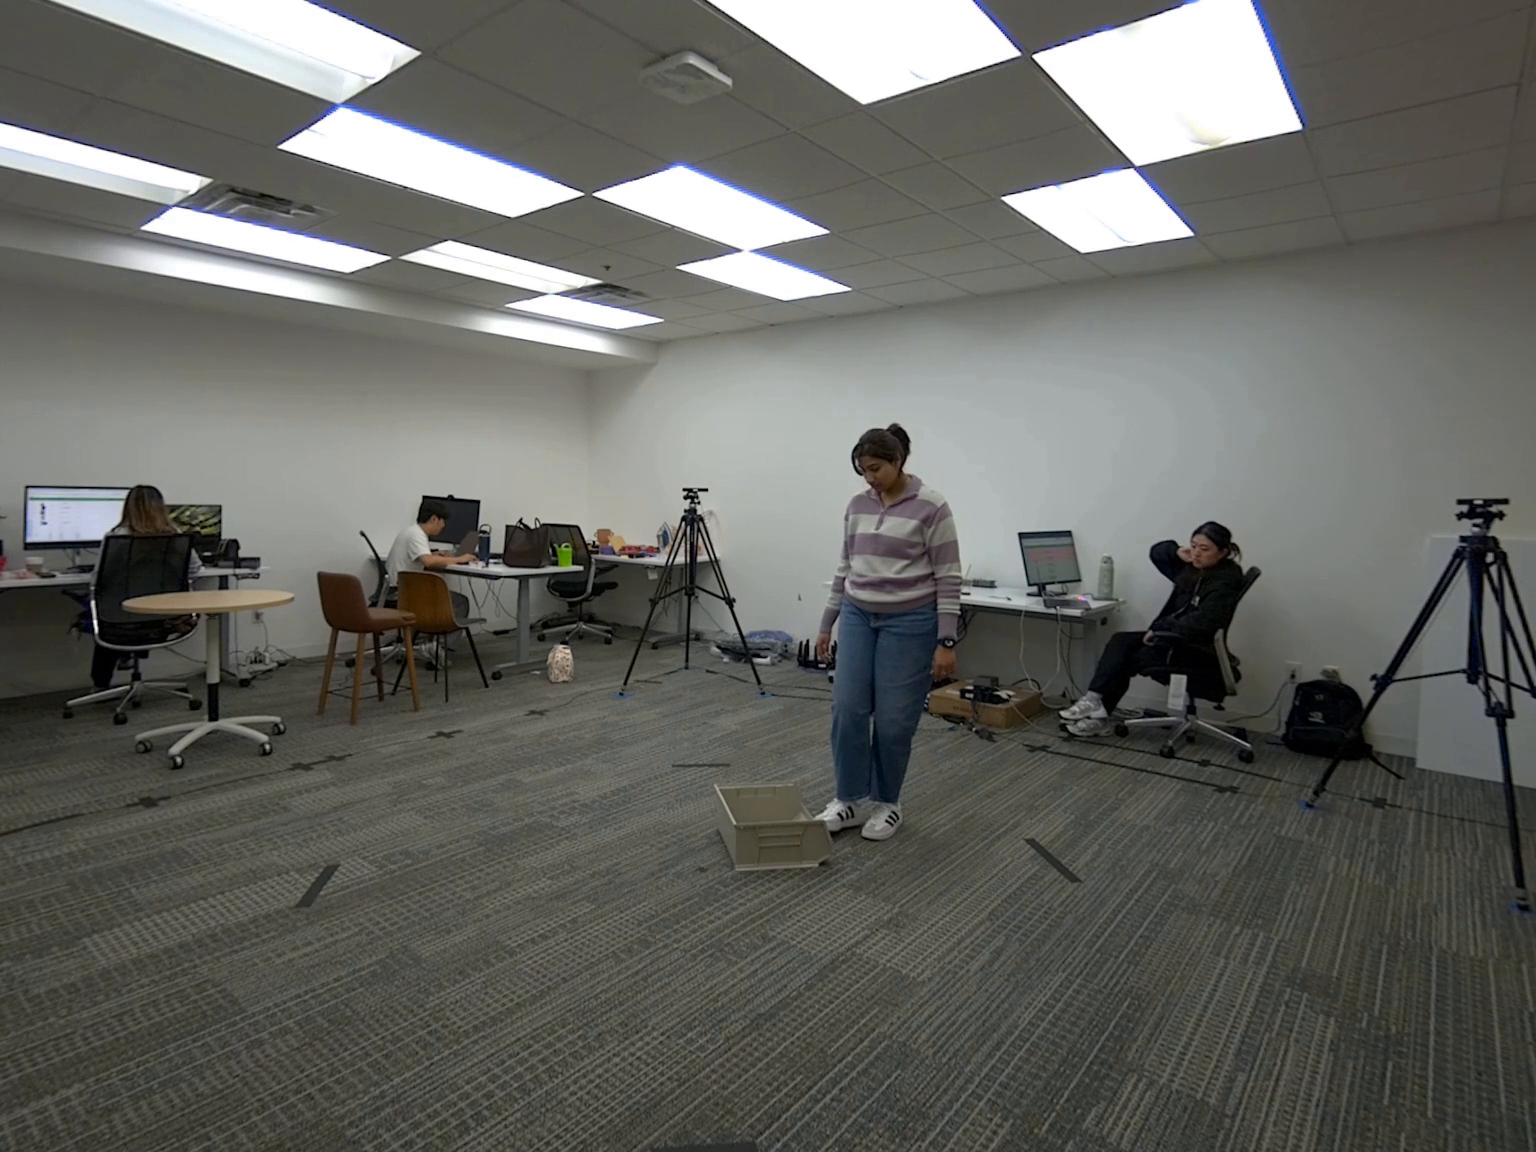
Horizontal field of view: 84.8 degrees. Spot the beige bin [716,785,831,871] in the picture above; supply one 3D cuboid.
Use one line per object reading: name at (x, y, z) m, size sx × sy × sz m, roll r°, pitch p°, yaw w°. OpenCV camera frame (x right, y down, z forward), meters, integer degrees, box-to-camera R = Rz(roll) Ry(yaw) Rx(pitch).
beige bin at (-0.004, 0.965, 3.319) m, size 0.373 × 0.188 × 0.430 m, roll -1°, pitch 6°, yaw -13°
